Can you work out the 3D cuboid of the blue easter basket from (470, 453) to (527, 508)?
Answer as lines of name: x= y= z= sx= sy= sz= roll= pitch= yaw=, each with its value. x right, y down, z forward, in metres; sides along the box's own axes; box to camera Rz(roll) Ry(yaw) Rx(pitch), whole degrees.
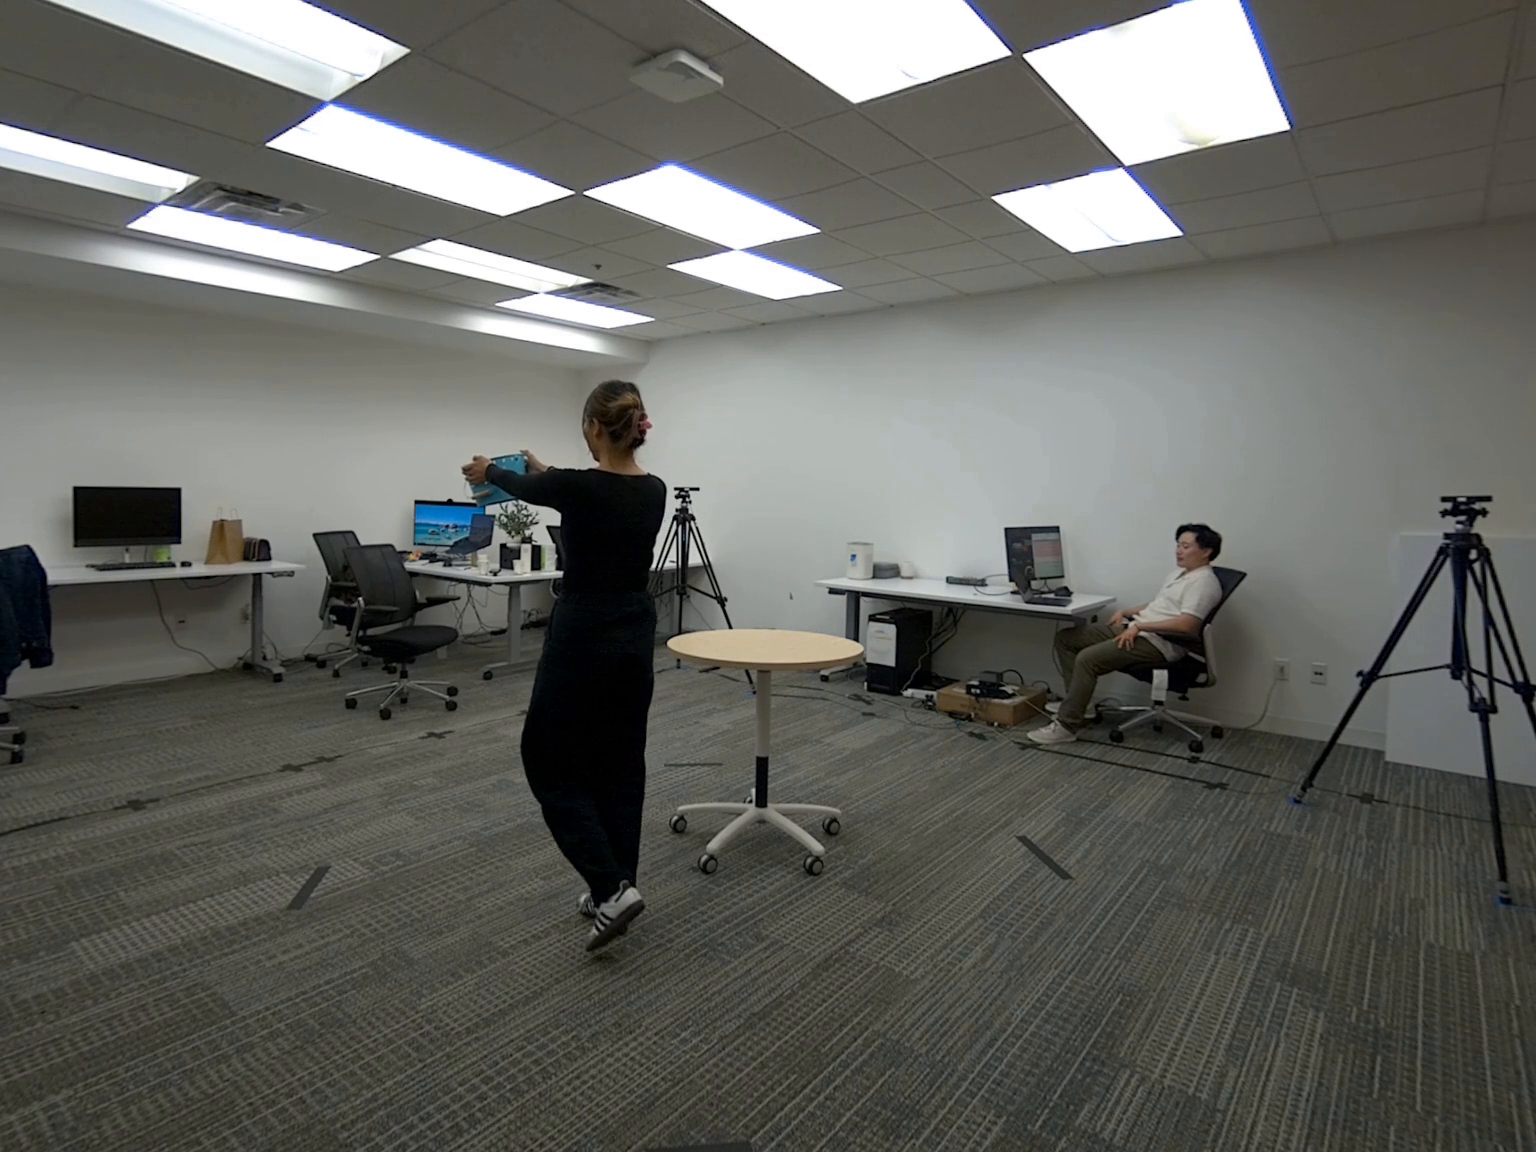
blue easter basket: x=-0.996 y=-0.339 z=3.070 sx=0.243 sy=0.155 sz=0.244 roll=-11 pitch=4 yaw=-1
